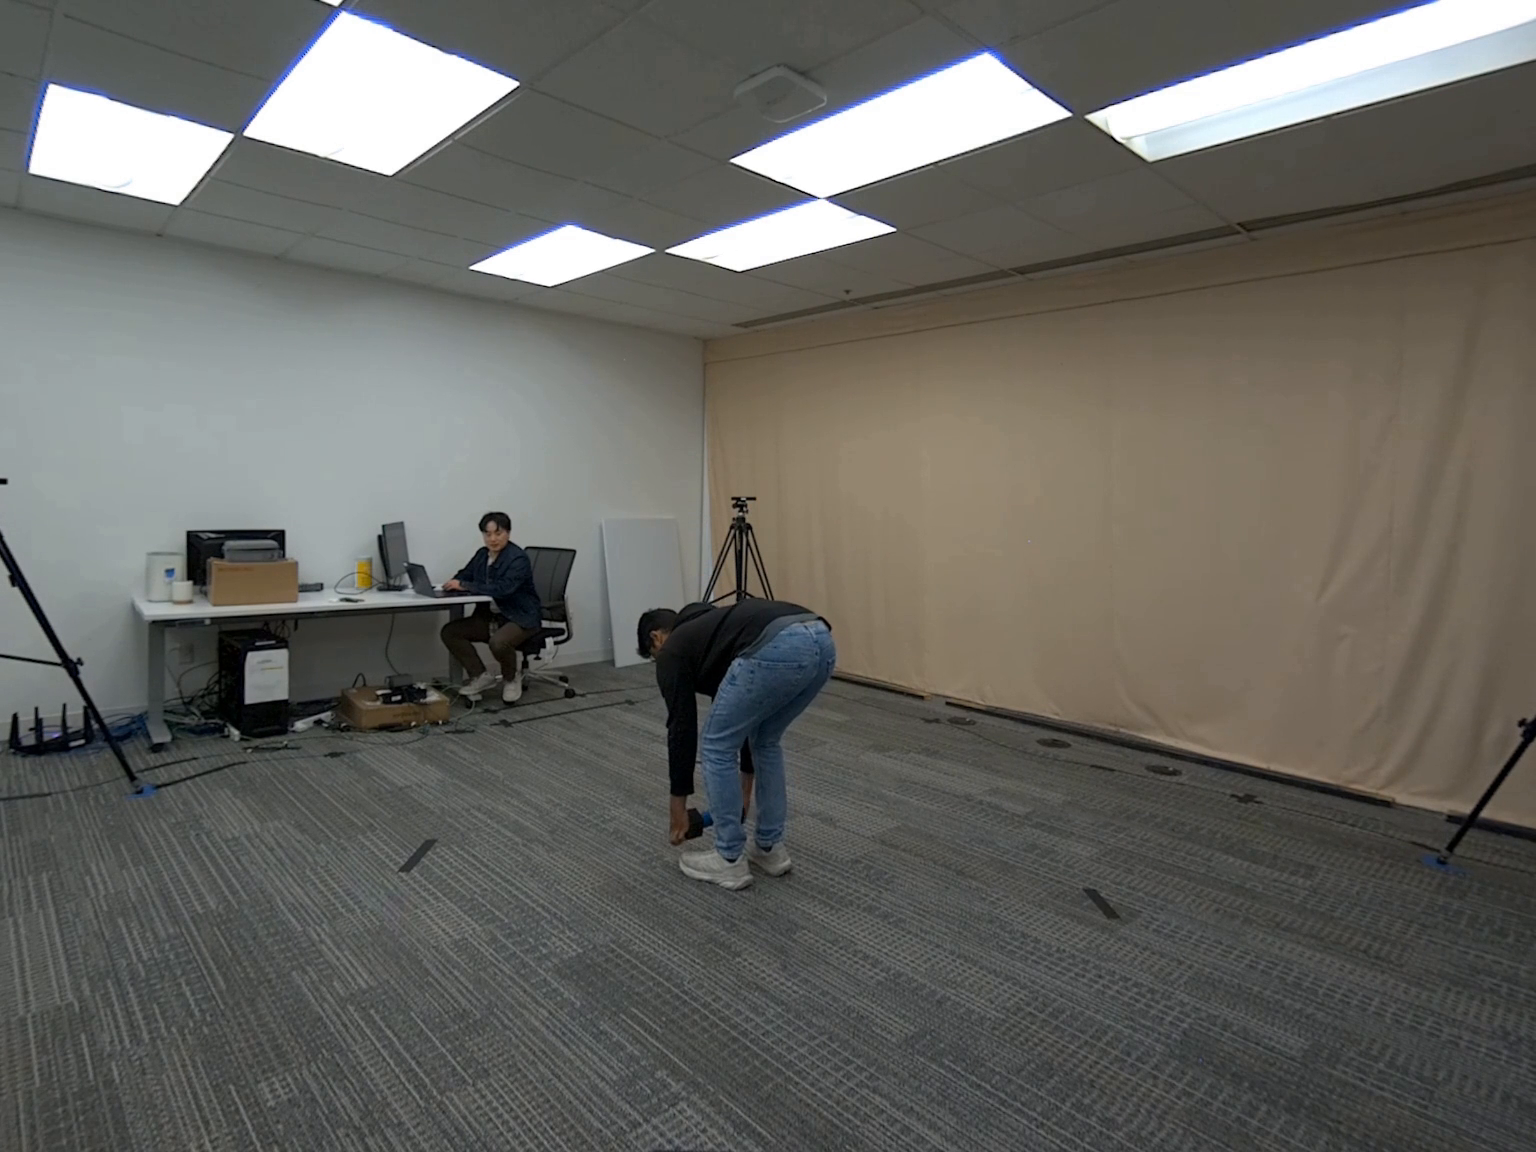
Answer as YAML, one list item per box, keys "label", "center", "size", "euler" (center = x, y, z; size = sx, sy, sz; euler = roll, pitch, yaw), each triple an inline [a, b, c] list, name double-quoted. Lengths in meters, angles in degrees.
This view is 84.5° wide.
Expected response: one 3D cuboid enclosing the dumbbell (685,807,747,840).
- label: "dumbbell"
  center: [-0.228, 0.949, 3.276]
  size: [0.286, 0.108, 0.127]
  euler: [-1, 39, -44]
